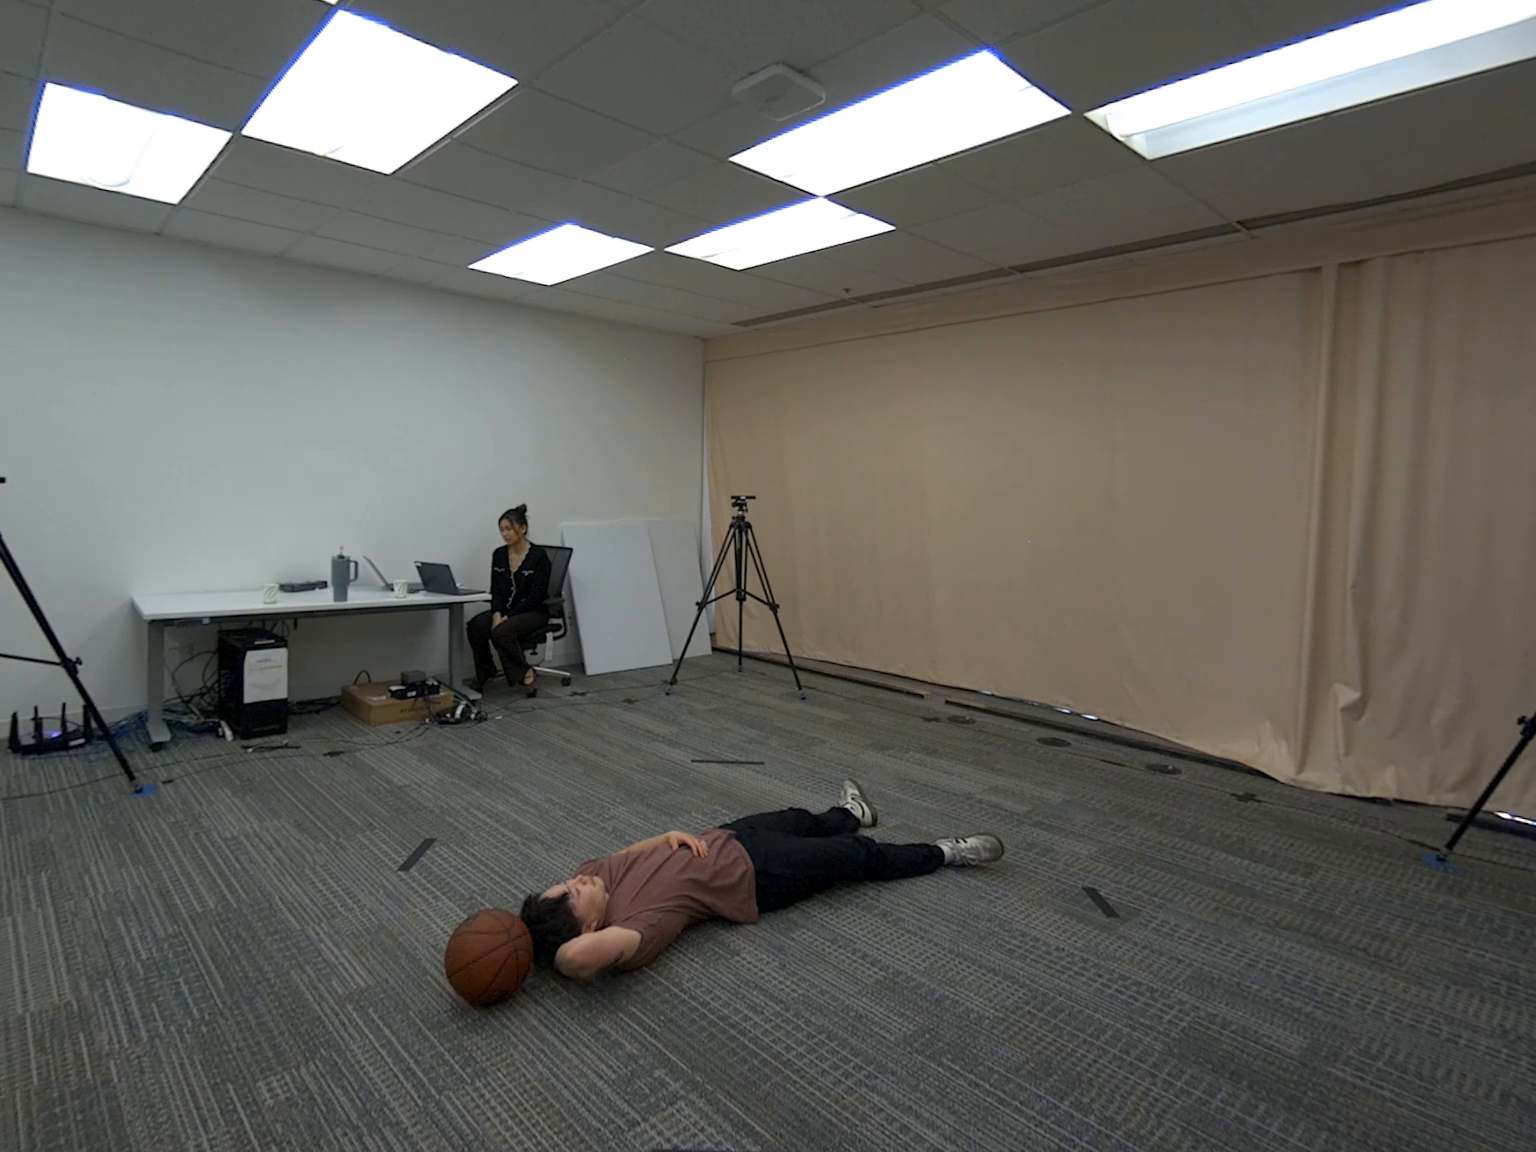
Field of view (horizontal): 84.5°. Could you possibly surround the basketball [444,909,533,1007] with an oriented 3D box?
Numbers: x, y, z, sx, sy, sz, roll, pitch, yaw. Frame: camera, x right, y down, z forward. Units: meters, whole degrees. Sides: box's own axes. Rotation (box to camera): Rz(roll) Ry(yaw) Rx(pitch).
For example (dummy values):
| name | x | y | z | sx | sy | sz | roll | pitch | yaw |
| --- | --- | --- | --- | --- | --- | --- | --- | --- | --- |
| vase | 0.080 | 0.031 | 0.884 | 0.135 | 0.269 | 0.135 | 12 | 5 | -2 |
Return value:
| name | x | y | z | sx | sy | sz | roll | pitch | yaw |
| --- | --- | --- | --- | --- | --- | --- | --- | --- | --- |
| basketball | -0.765 | 1.039 | 2.313 | 0.236 | 0.235 | 0.237 | 2 | 4 | -2 |
